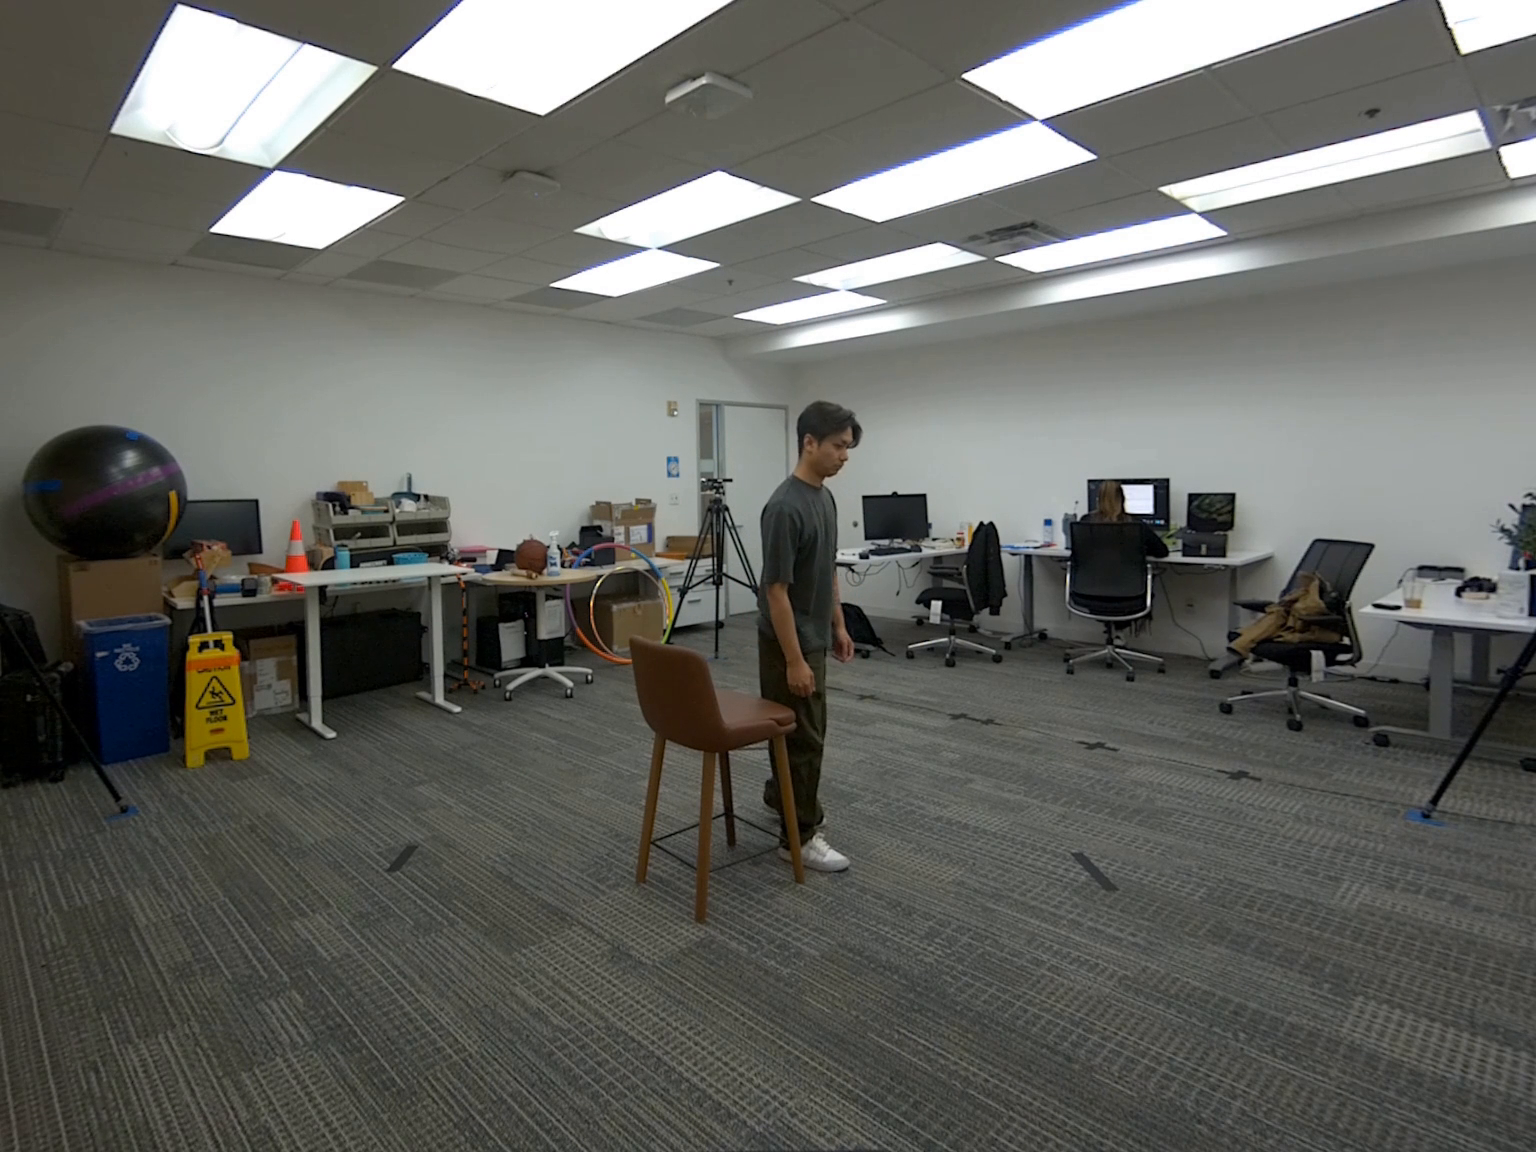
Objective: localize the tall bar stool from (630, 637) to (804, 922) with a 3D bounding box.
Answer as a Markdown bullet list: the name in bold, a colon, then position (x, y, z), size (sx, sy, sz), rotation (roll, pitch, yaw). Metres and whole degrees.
- **tall bar stool**: position (-0.181, 0.626, 2.939), size (0.456, 0.885, 0.471), rotation (-7, 7, -40)
